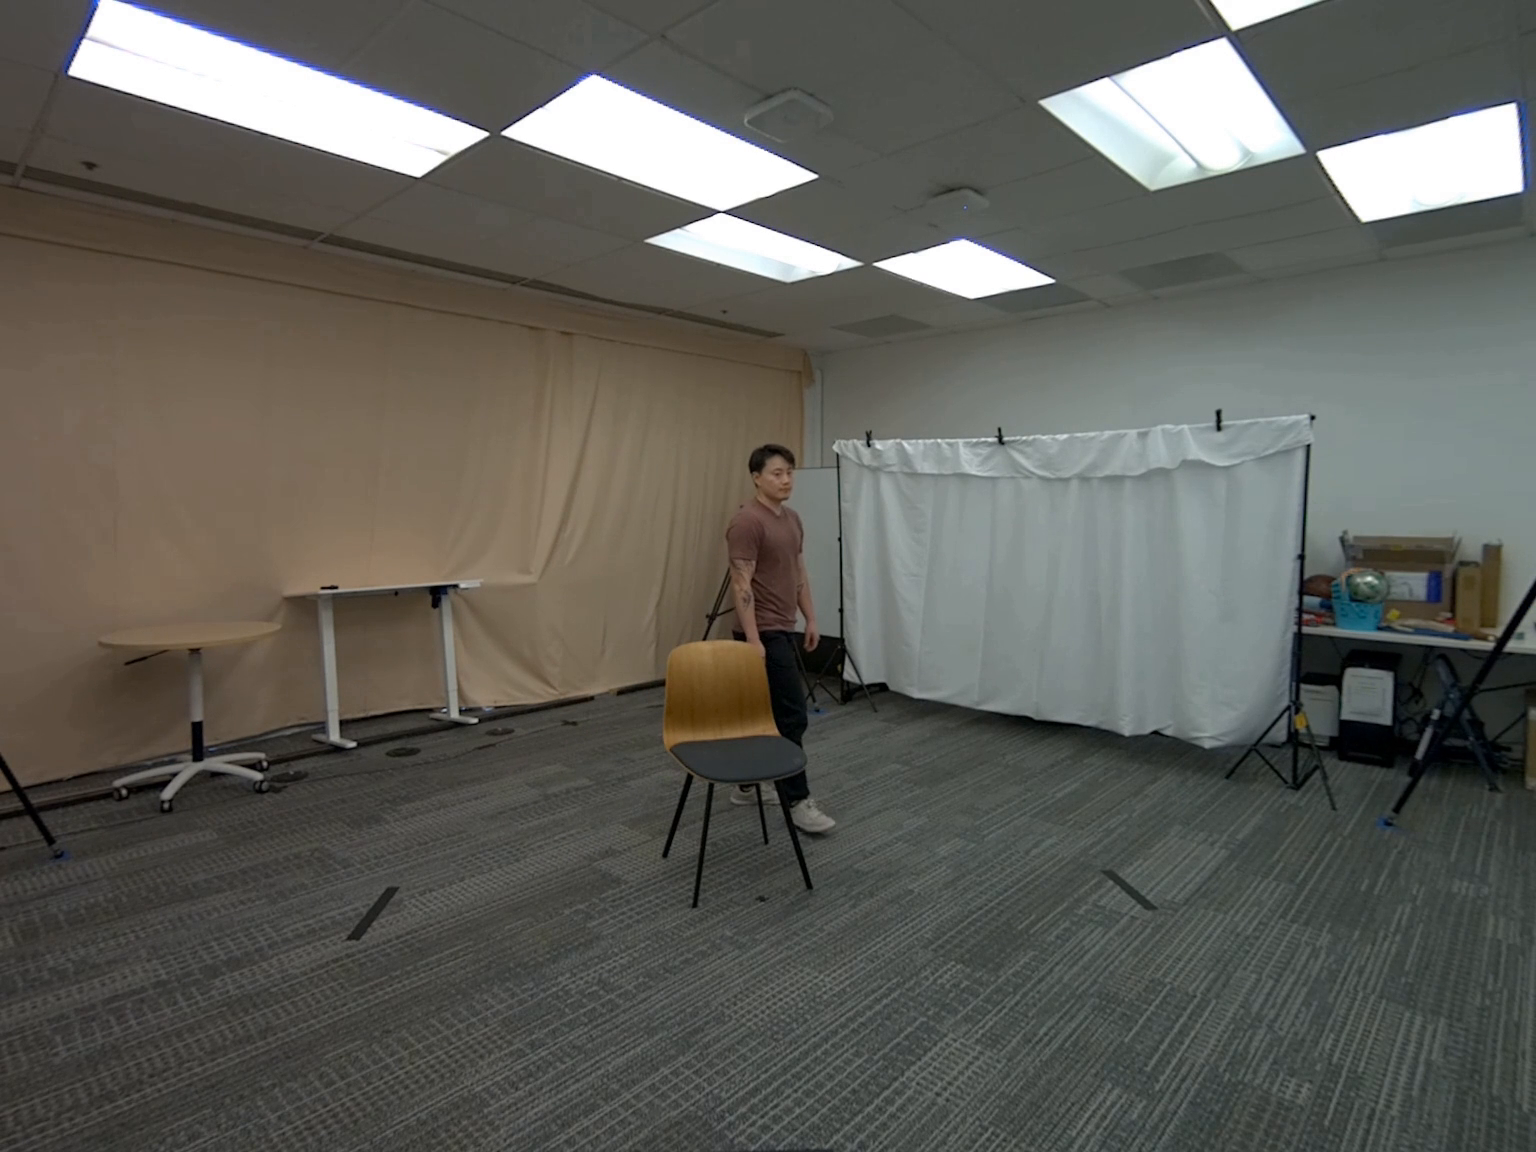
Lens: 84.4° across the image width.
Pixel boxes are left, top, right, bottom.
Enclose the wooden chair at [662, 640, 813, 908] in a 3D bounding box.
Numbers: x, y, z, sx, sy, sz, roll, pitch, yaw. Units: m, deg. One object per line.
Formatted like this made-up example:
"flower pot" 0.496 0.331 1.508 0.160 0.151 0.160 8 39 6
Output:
"wooden chair" -0.131 0.707 3.159 0.469 0.878 0.533 -1 -1 -20
